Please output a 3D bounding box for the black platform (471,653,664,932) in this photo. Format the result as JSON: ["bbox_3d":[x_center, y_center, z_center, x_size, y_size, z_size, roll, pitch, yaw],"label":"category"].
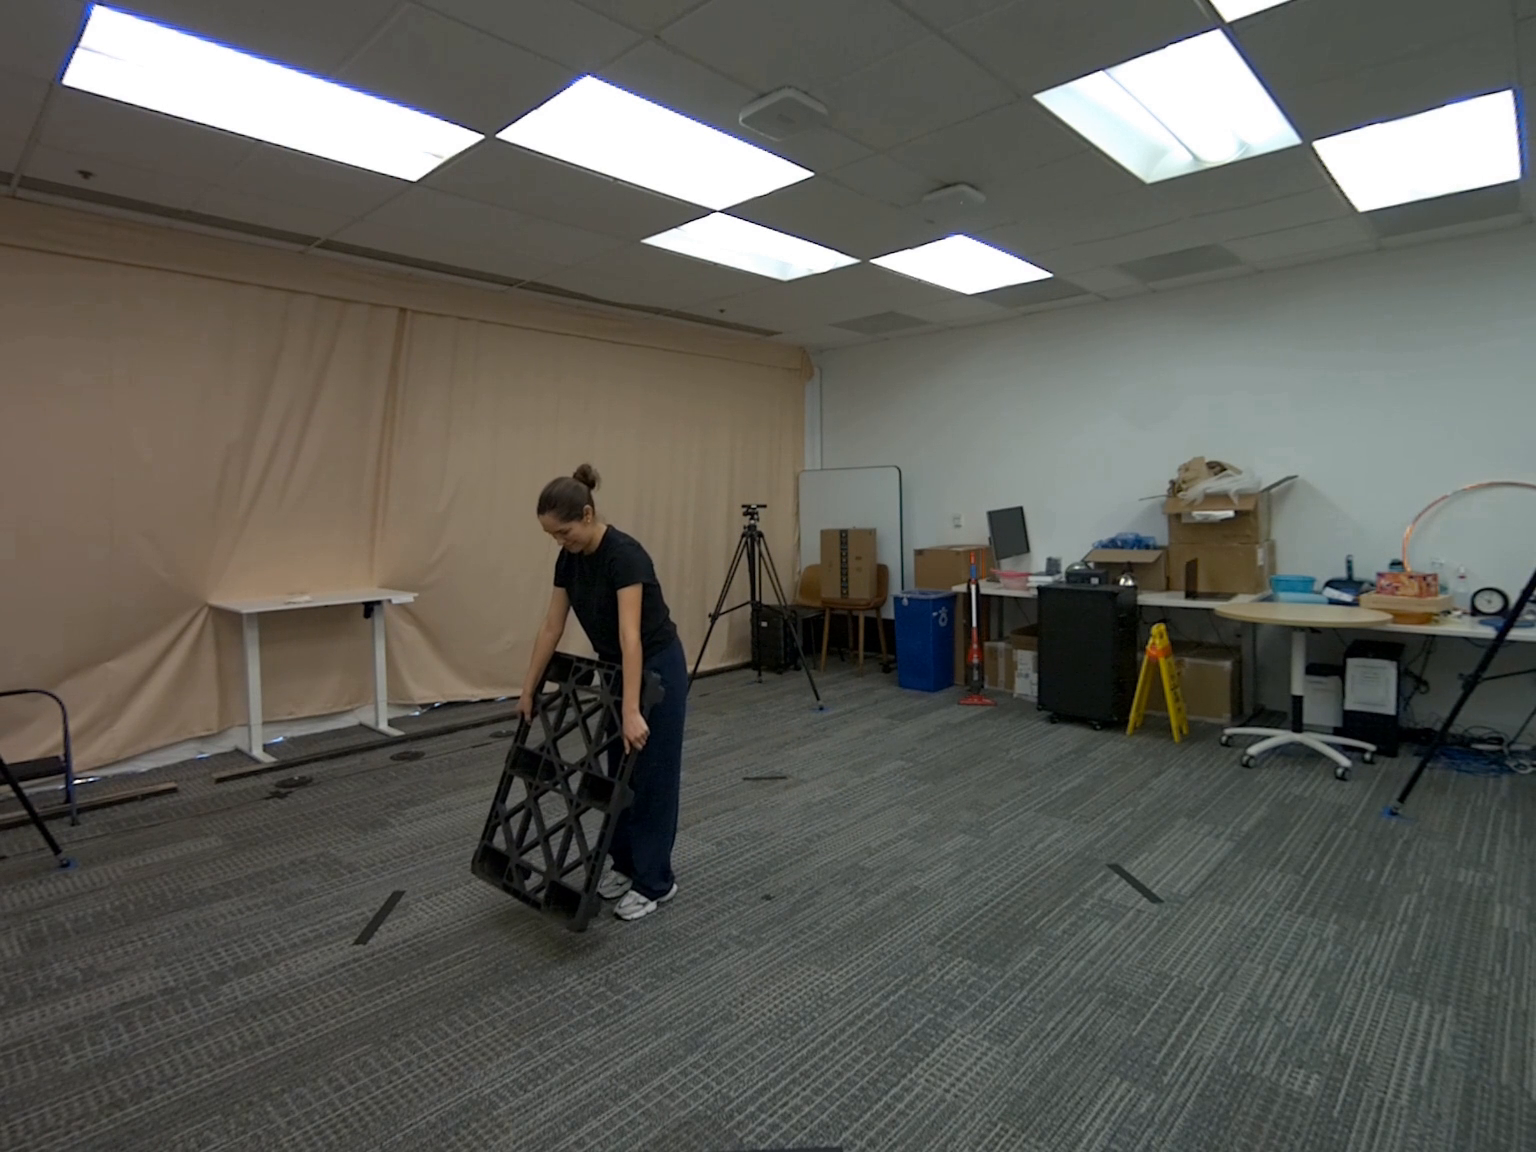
[{"bbox_3d":[-0.644,0.682,2.813,0.625,0.808,0.138,6,-16,40],"label":"black platform"}]
